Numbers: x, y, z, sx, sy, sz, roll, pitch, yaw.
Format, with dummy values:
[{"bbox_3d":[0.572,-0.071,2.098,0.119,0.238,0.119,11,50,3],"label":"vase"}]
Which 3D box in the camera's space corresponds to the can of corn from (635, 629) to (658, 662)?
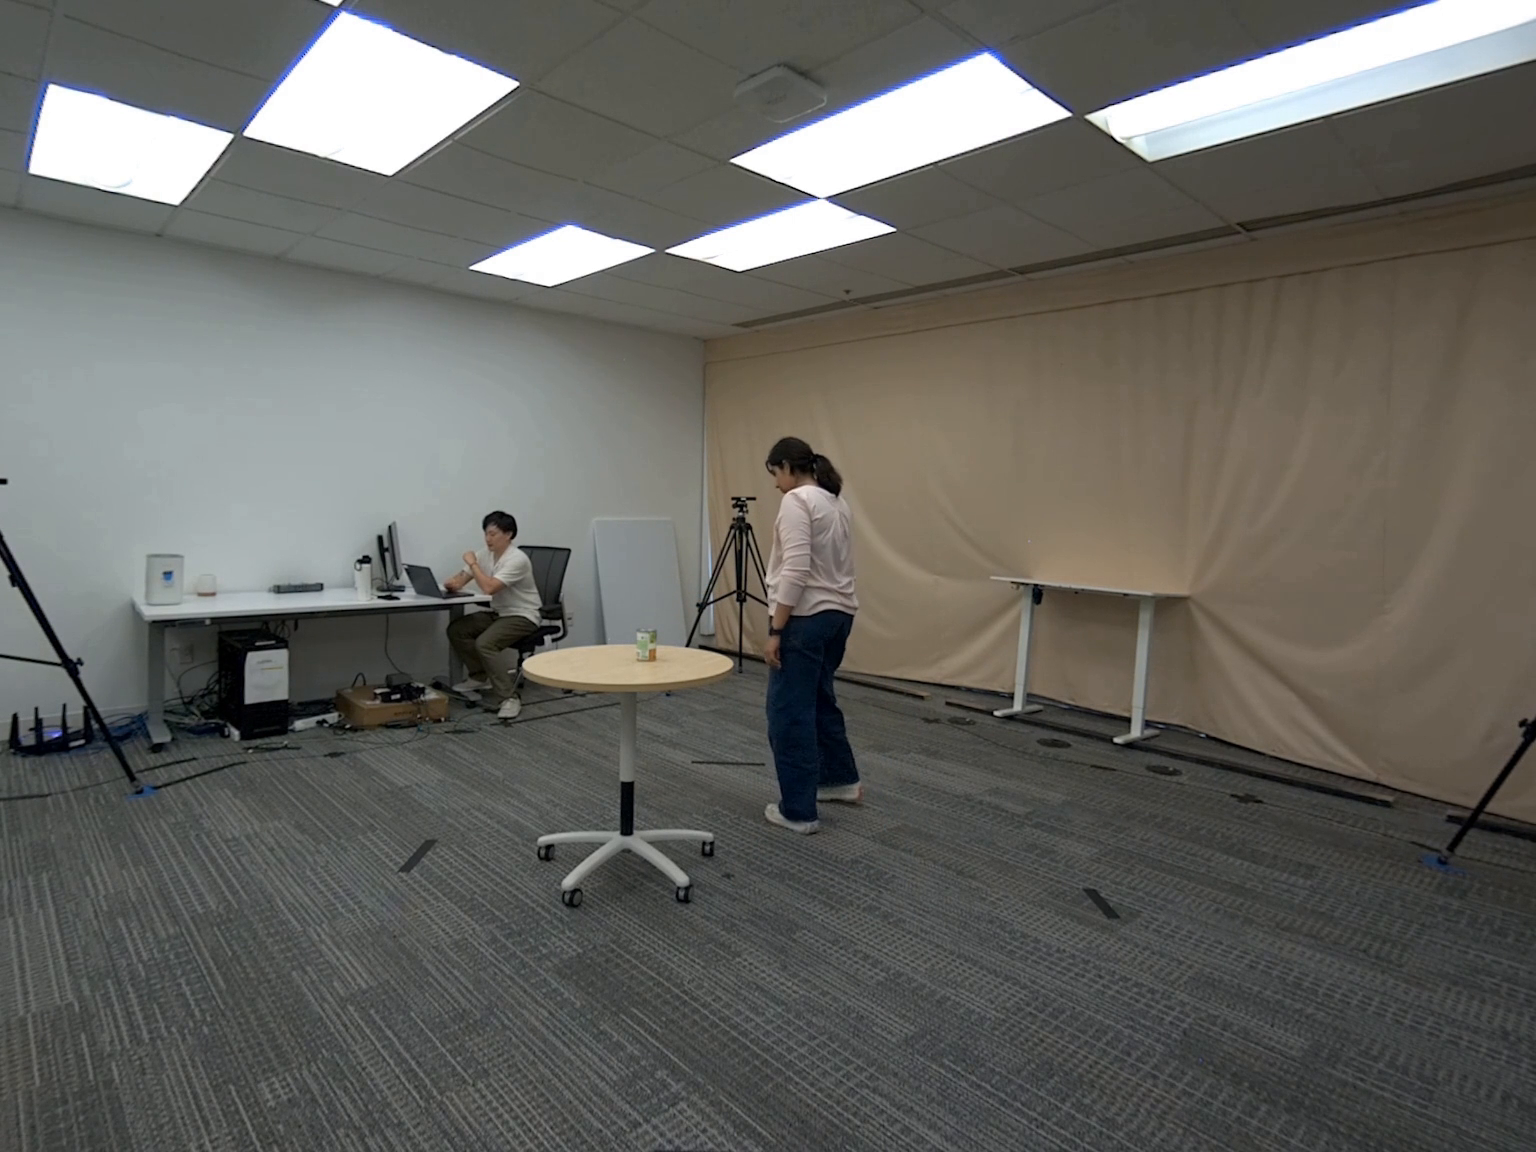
[{"bbox_3d":[-0.465,0.260,3.127,0.074,0.111,0.074,-1,2,-1],"label":"can of corn"}]
